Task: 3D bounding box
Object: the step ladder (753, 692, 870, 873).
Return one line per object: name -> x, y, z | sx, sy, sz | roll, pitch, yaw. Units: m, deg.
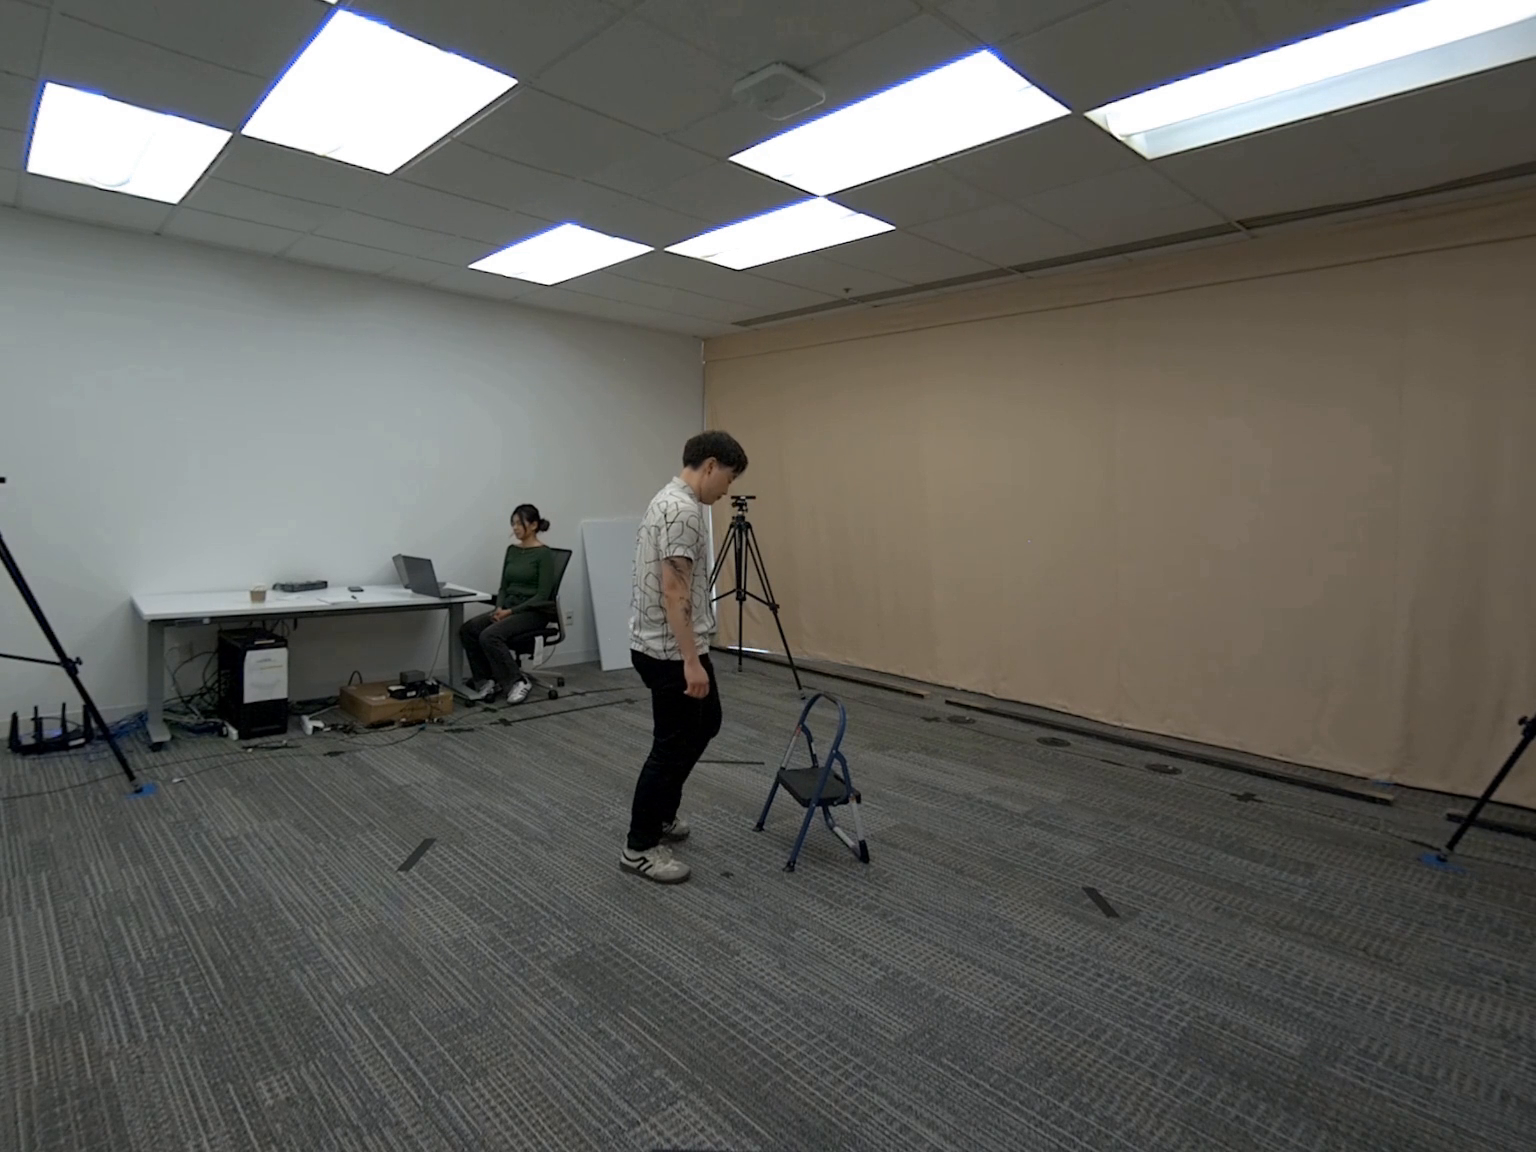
step ladder -> 0.165, 0.784, 3.366 | 0.345, 0.605, 0.437 | 1, 4, -17
